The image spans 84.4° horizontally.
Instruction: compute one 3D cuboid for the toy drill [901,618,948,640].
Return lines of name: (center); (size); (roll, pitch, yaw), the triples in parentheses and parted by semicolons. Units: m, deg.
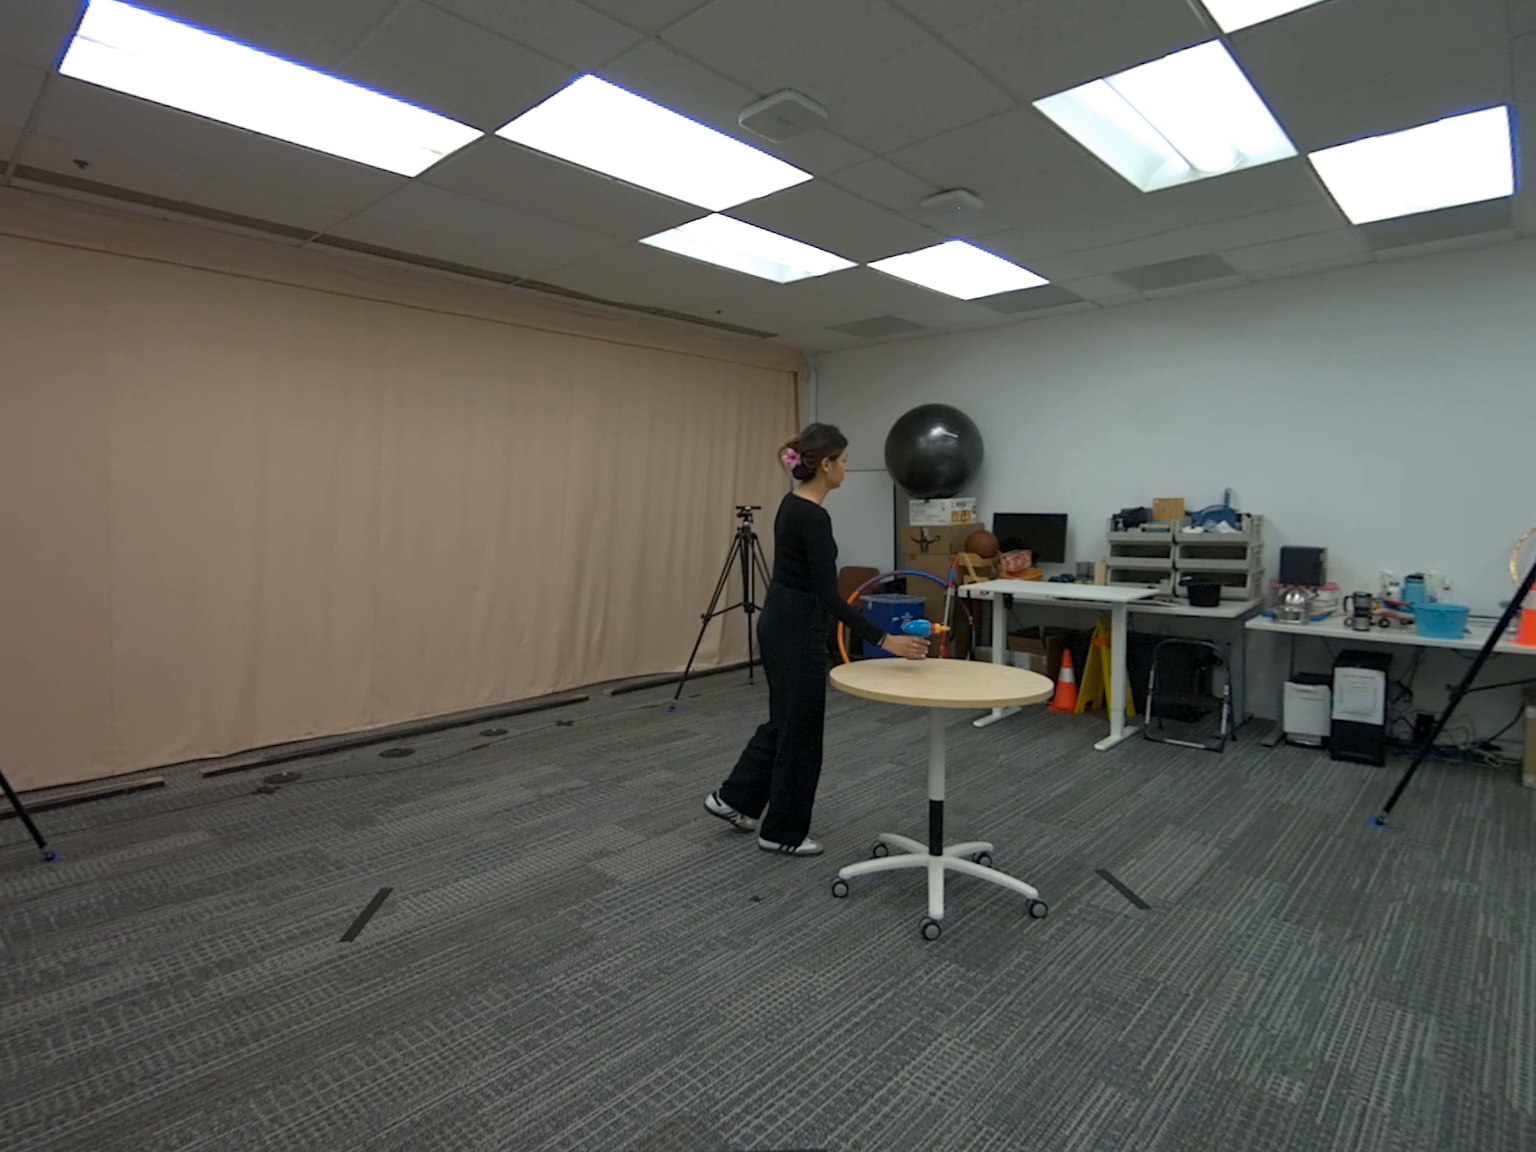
toy drill: (0.586, 0.226, 3.078); (0.170, 0.145, 0.061); (0, 7, 1)
